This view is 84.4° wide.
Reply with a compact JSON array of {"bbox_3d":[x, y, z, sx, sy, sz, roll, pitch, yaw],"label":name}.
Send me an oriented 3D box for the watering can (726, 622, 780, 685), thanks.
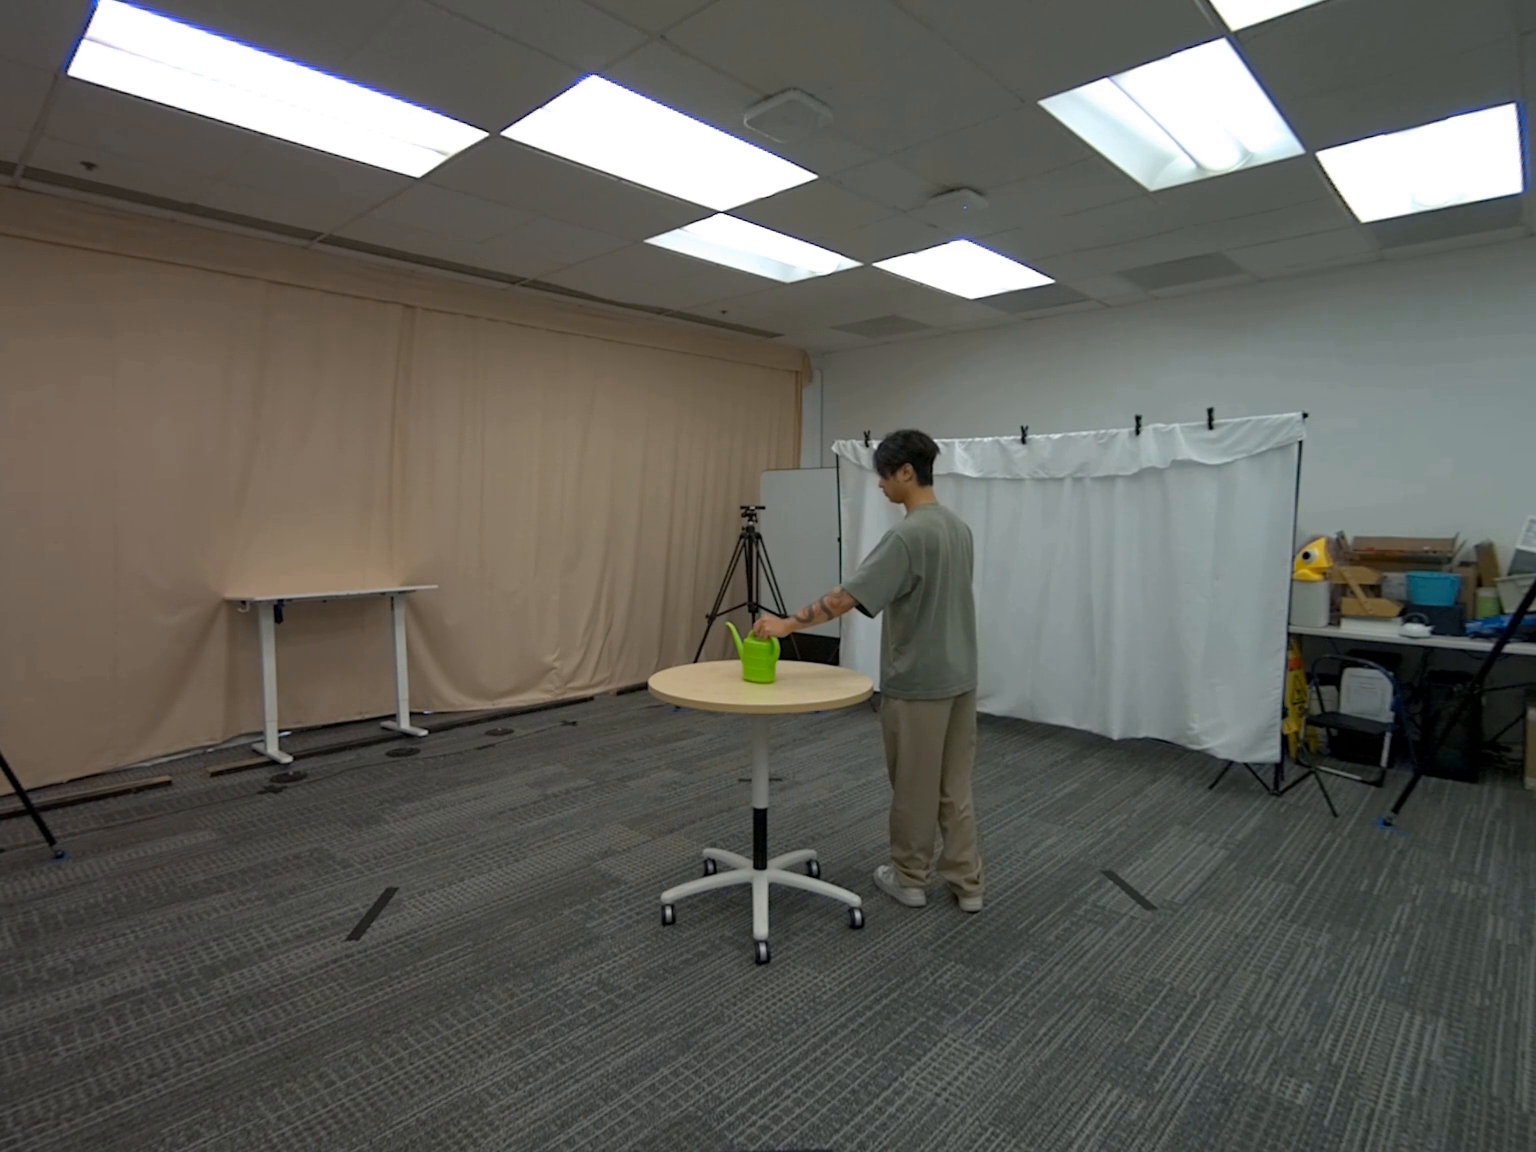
[{"bbox_3d":[-0.045,0.268,2.906,0.095,0.176,0.286,-2,7,-28],"label":"watering can"}]
